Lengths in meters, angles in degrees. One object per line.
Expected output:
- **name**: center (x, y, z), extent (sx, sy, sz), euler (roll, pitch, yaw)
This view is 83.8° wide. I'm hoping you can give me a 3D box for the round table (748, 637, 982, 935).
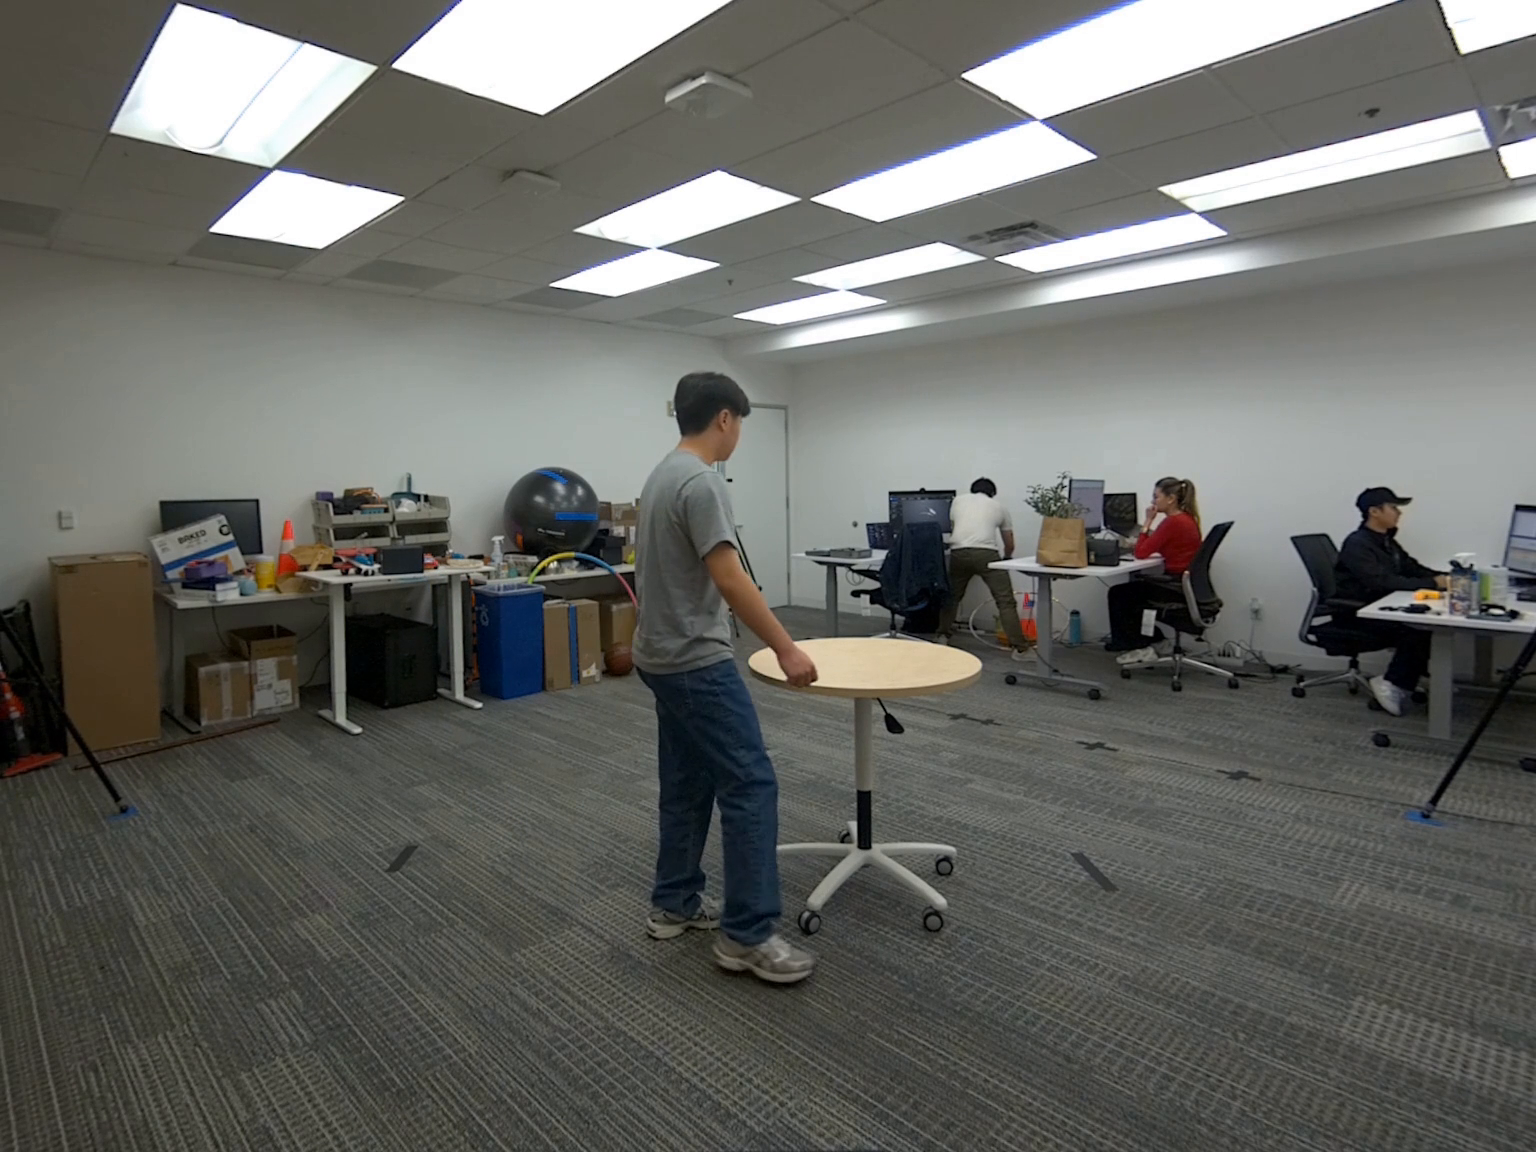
- **round table**: center (0.328, 0.672, 2.889), extent (0.763, 0.791, 0.768), euler (-1, 5, -2)
